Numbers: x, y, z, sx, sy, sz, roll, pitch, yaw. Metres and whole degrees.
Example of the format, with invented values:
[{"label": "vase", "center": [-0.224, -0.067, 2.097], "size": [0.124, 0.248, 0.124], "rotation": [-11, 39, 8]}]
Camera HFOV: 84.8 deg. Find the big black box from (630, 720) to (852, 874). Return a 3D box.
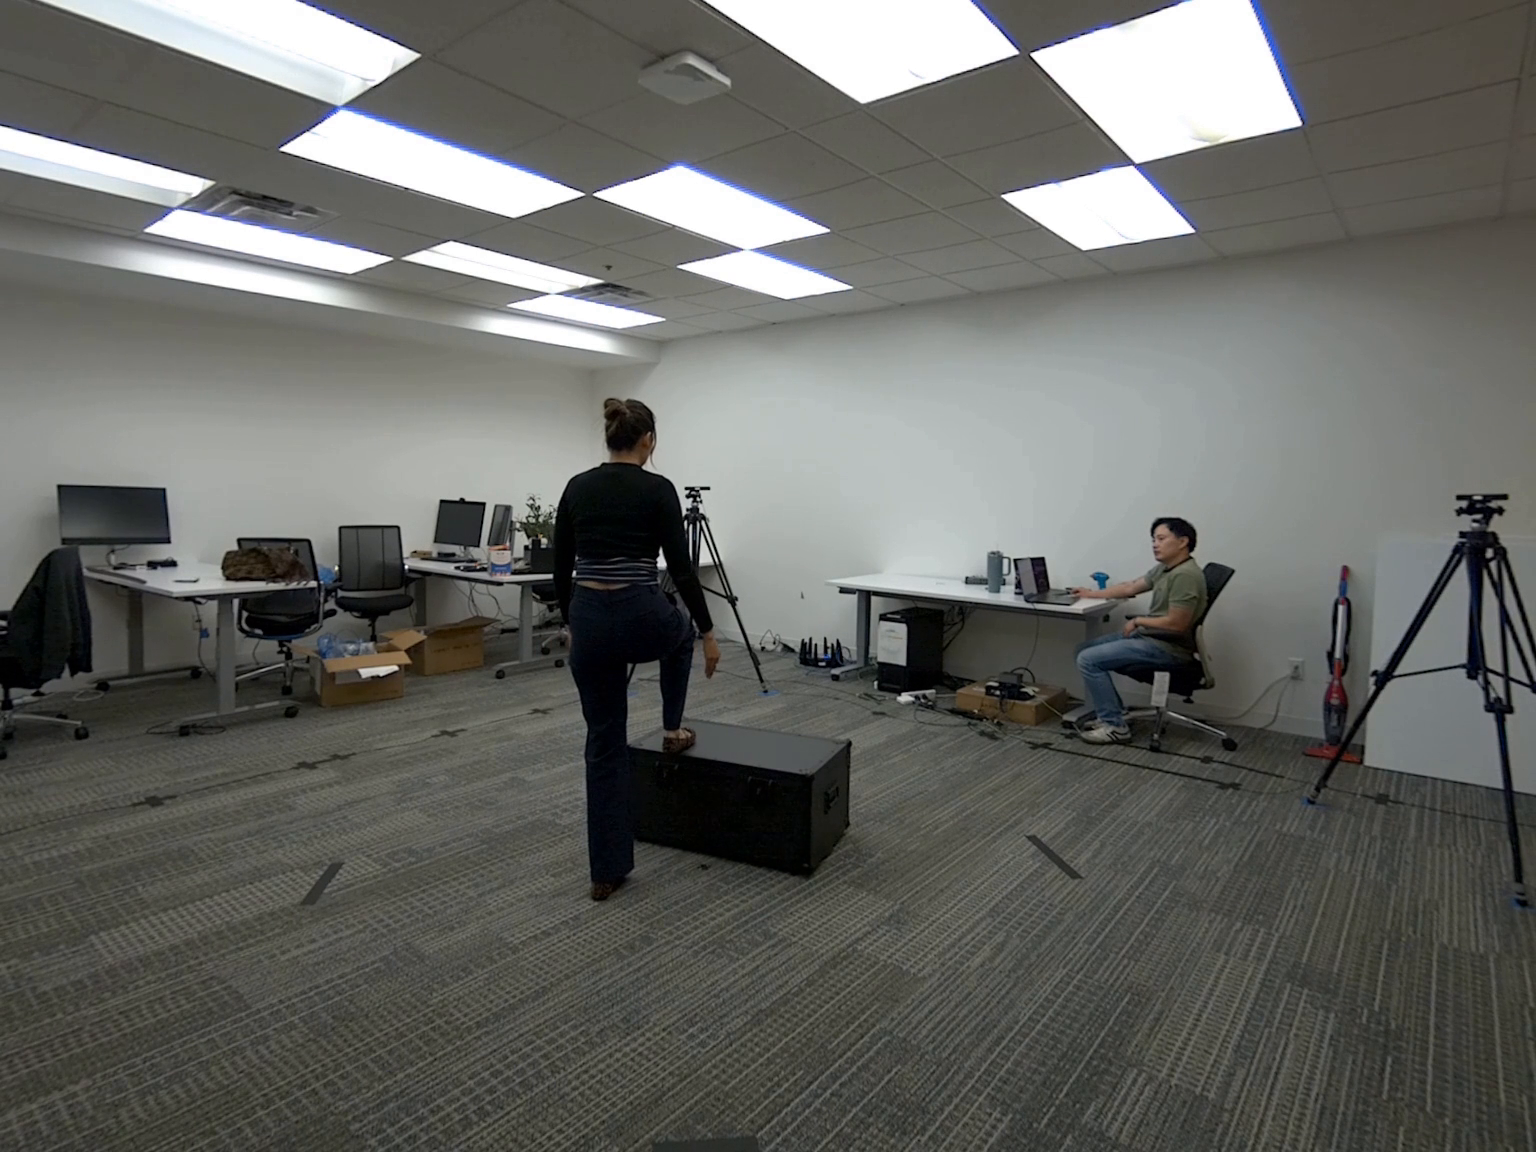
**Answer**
[{"label": "big black box", "center": [-0.154, 0.849, 3.415], "size": [0.883, 0.394, 0.511], "rotation": [3, 6, 24]}]
